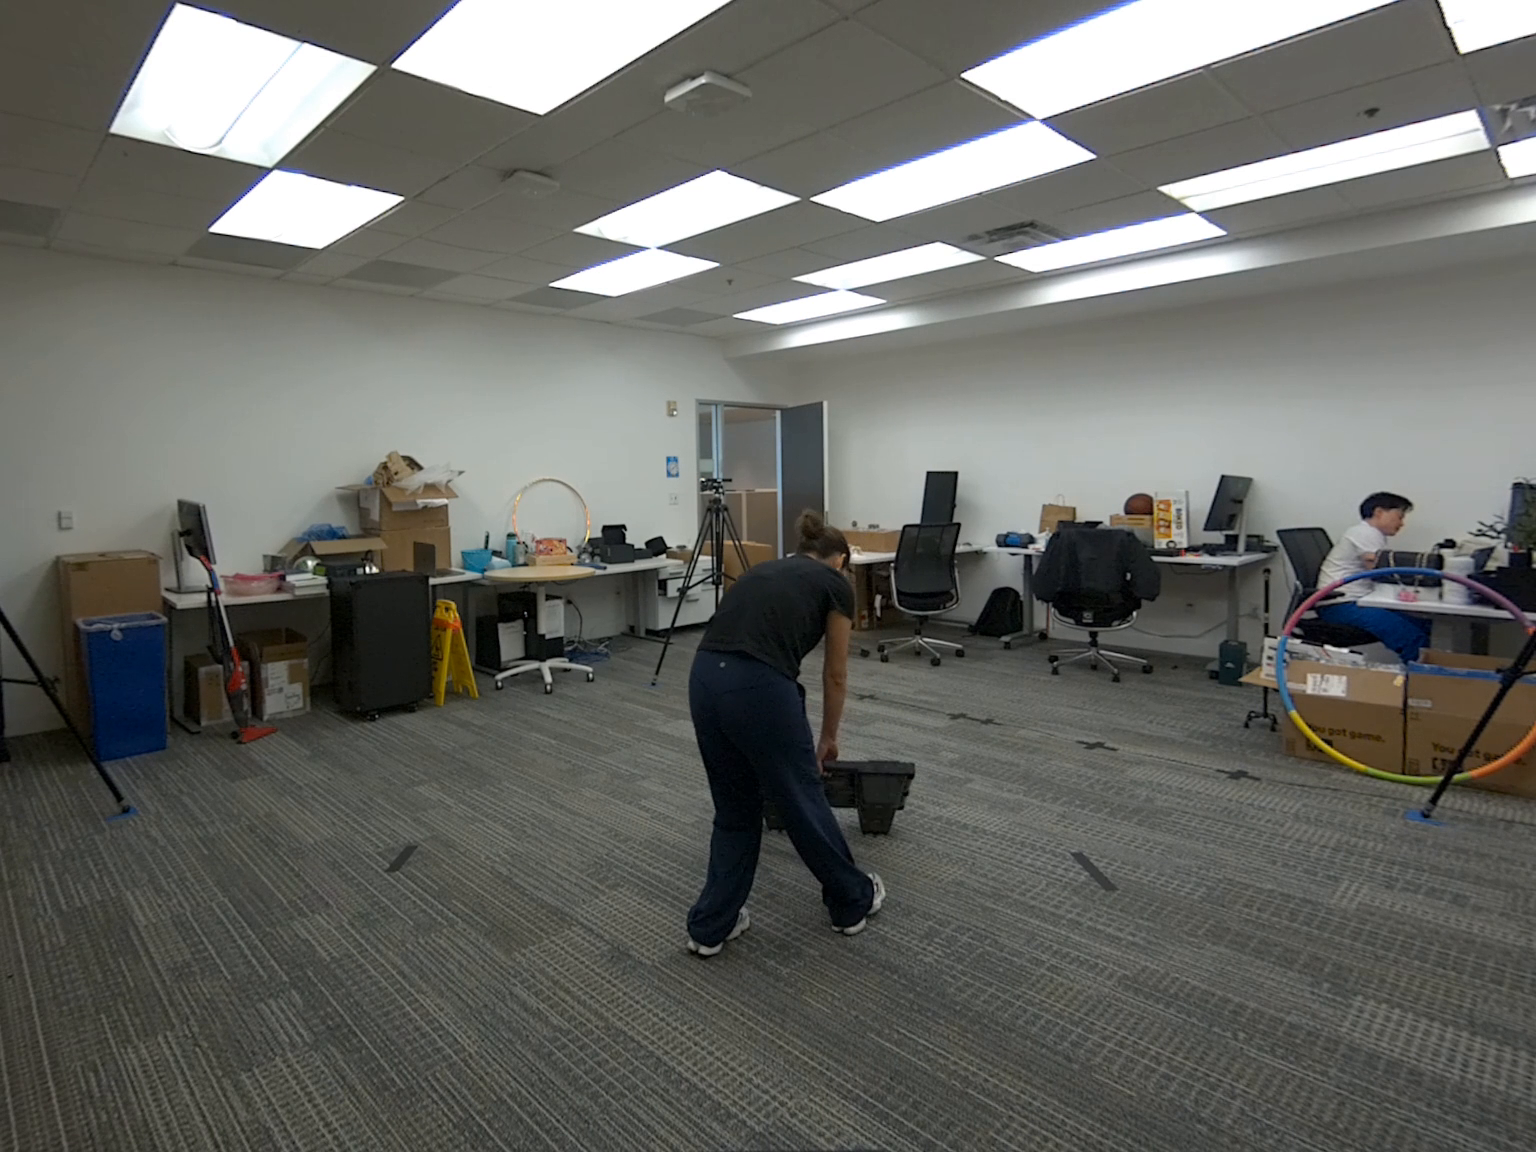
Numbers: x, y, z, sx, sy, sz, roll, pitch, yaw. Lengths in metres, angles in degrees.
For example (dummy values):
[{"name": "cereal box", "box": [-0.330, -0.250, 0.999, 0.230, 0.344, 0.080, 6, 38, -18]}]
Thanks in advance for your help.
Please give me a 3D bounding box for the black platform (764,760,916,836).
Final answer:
[{"name": "black platform", "box": [0.200, 0.800, 3.092, 0.609, 0.146, 0.784, 0, -24, 6]}]
